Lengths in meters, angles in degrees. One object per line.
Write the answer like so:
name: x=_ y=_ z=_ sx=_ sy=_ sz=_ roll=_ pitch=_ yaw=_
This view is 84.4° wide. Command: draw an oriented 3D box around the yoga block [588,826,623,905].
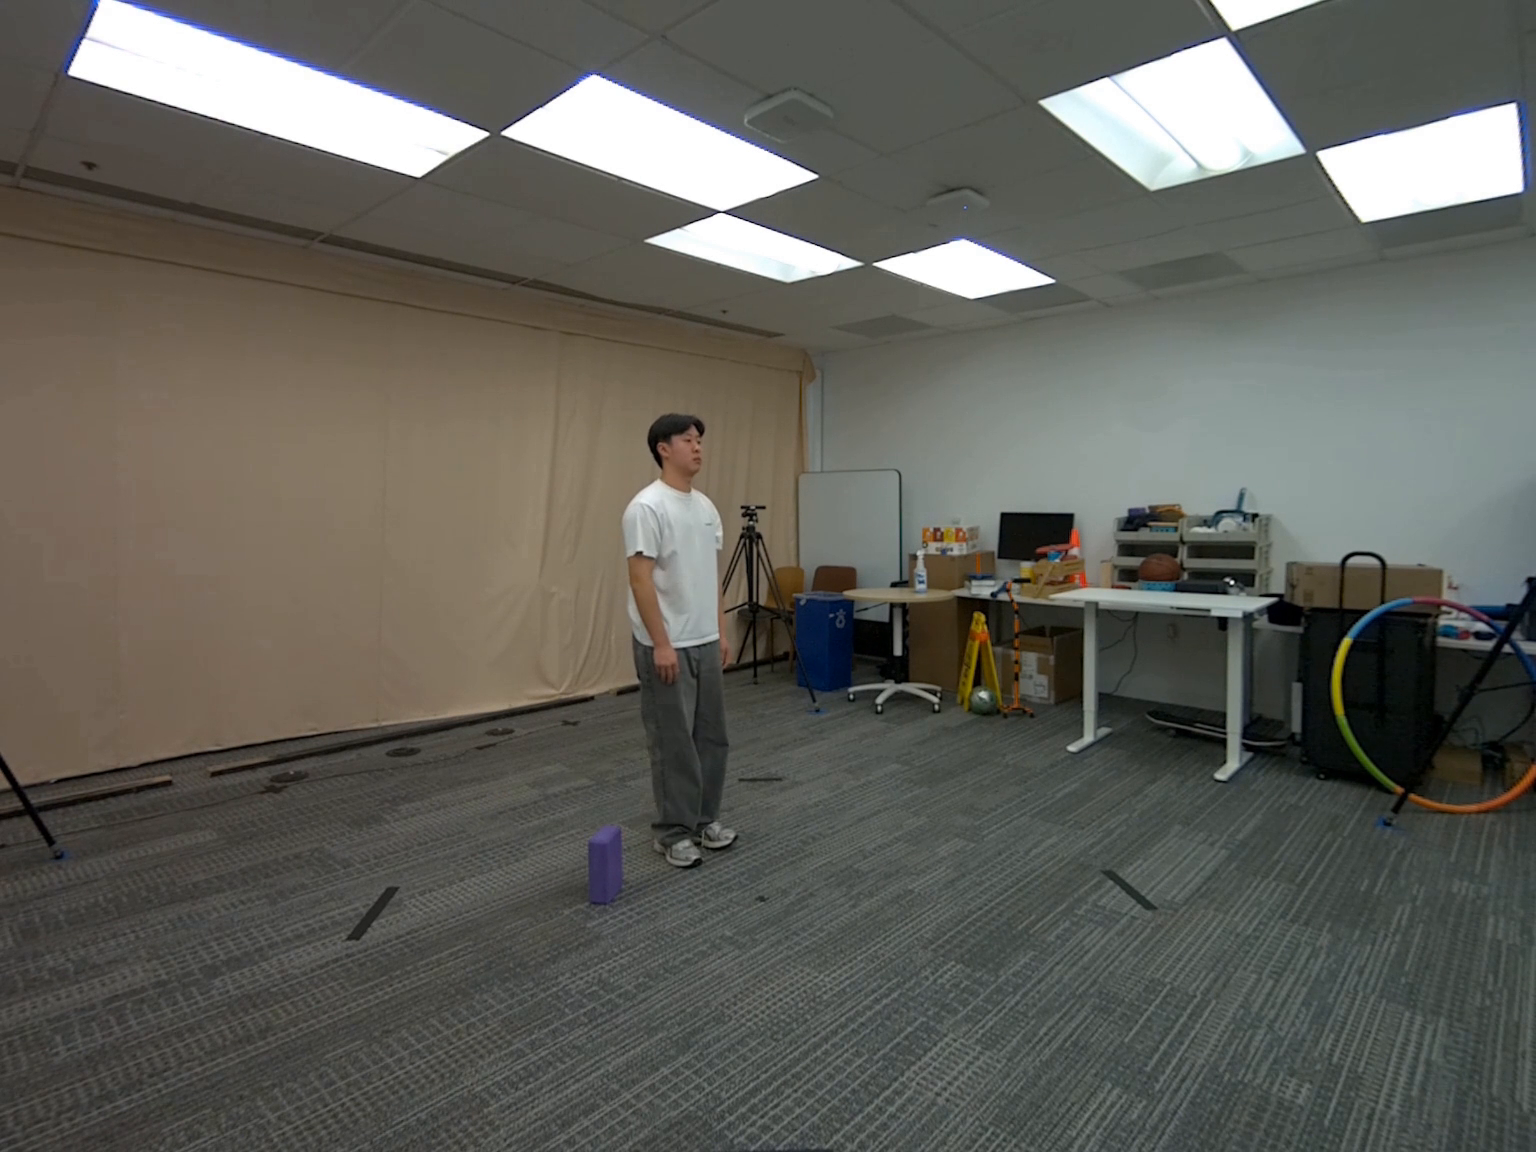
yoga block: x=-0.576 y=1.027 z=3.007 sx=0.077 sy=0.229 sz=0.147 roll=1 pitch=5 yaw=11
